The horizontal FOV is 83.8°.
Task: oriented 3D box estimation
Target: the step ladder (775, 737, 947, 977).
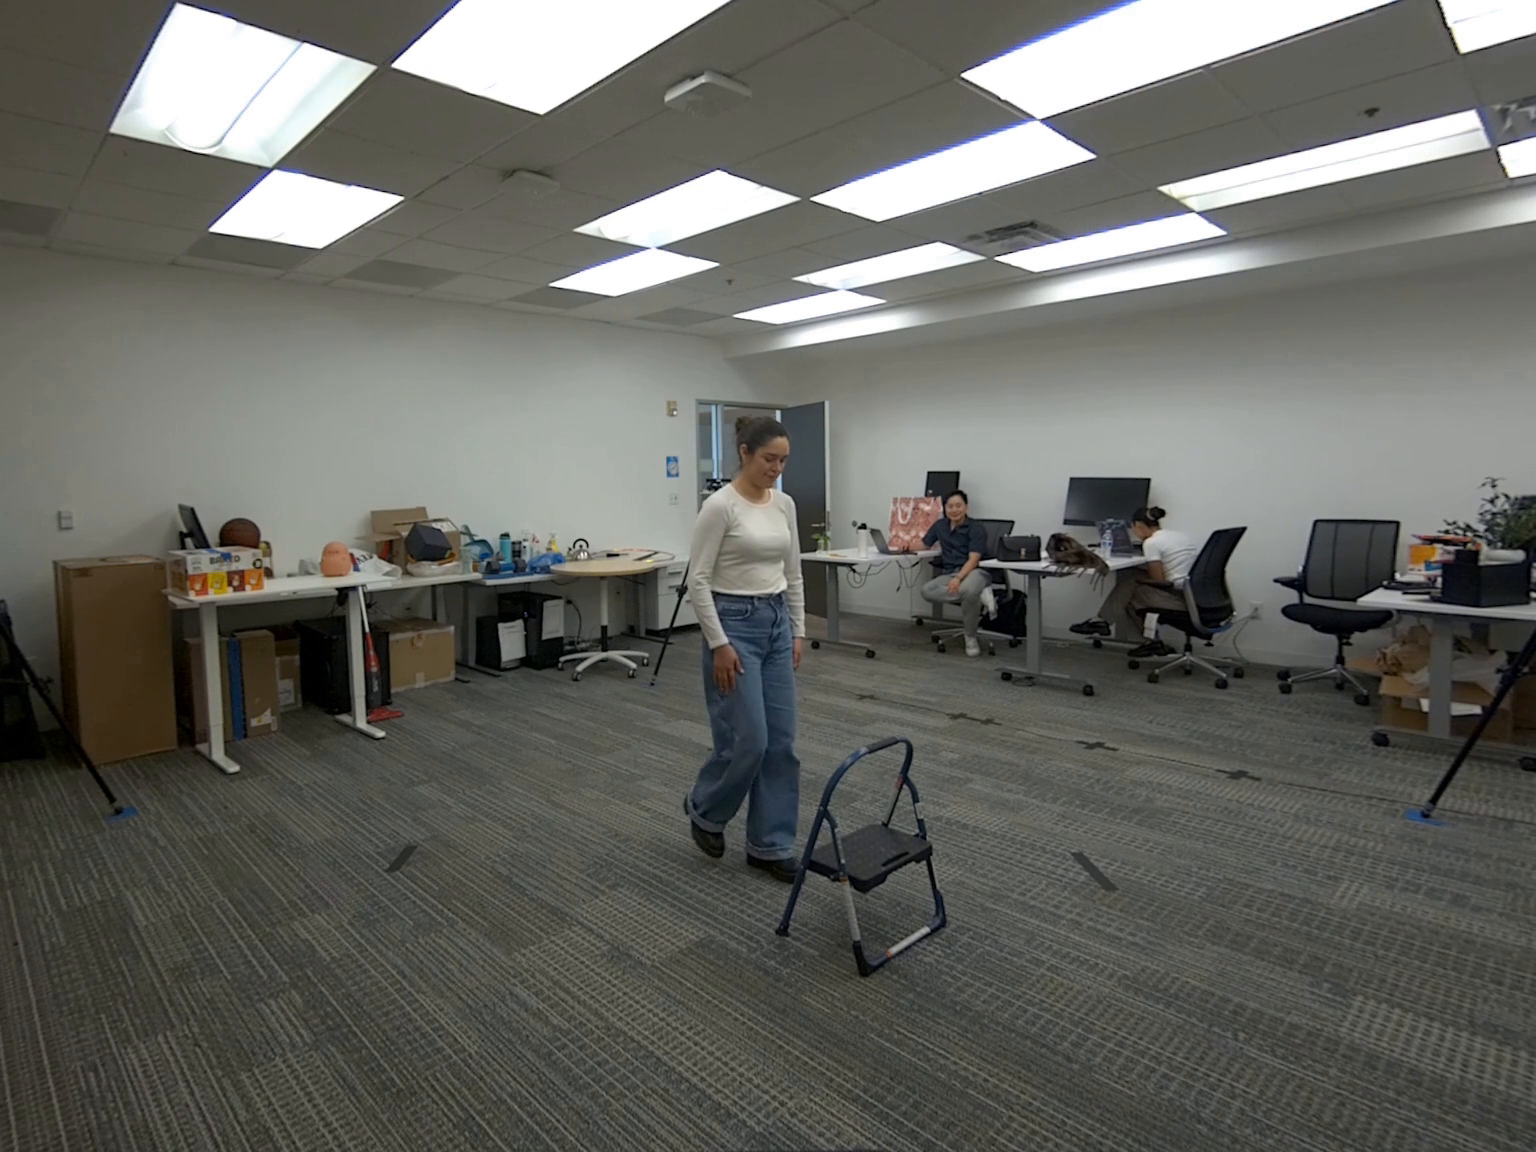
[{"bbox_3d":[0.290,0.792,2.626,0.419,0.604,0.360,-6,6,-45],"label":"step ladder"}]
